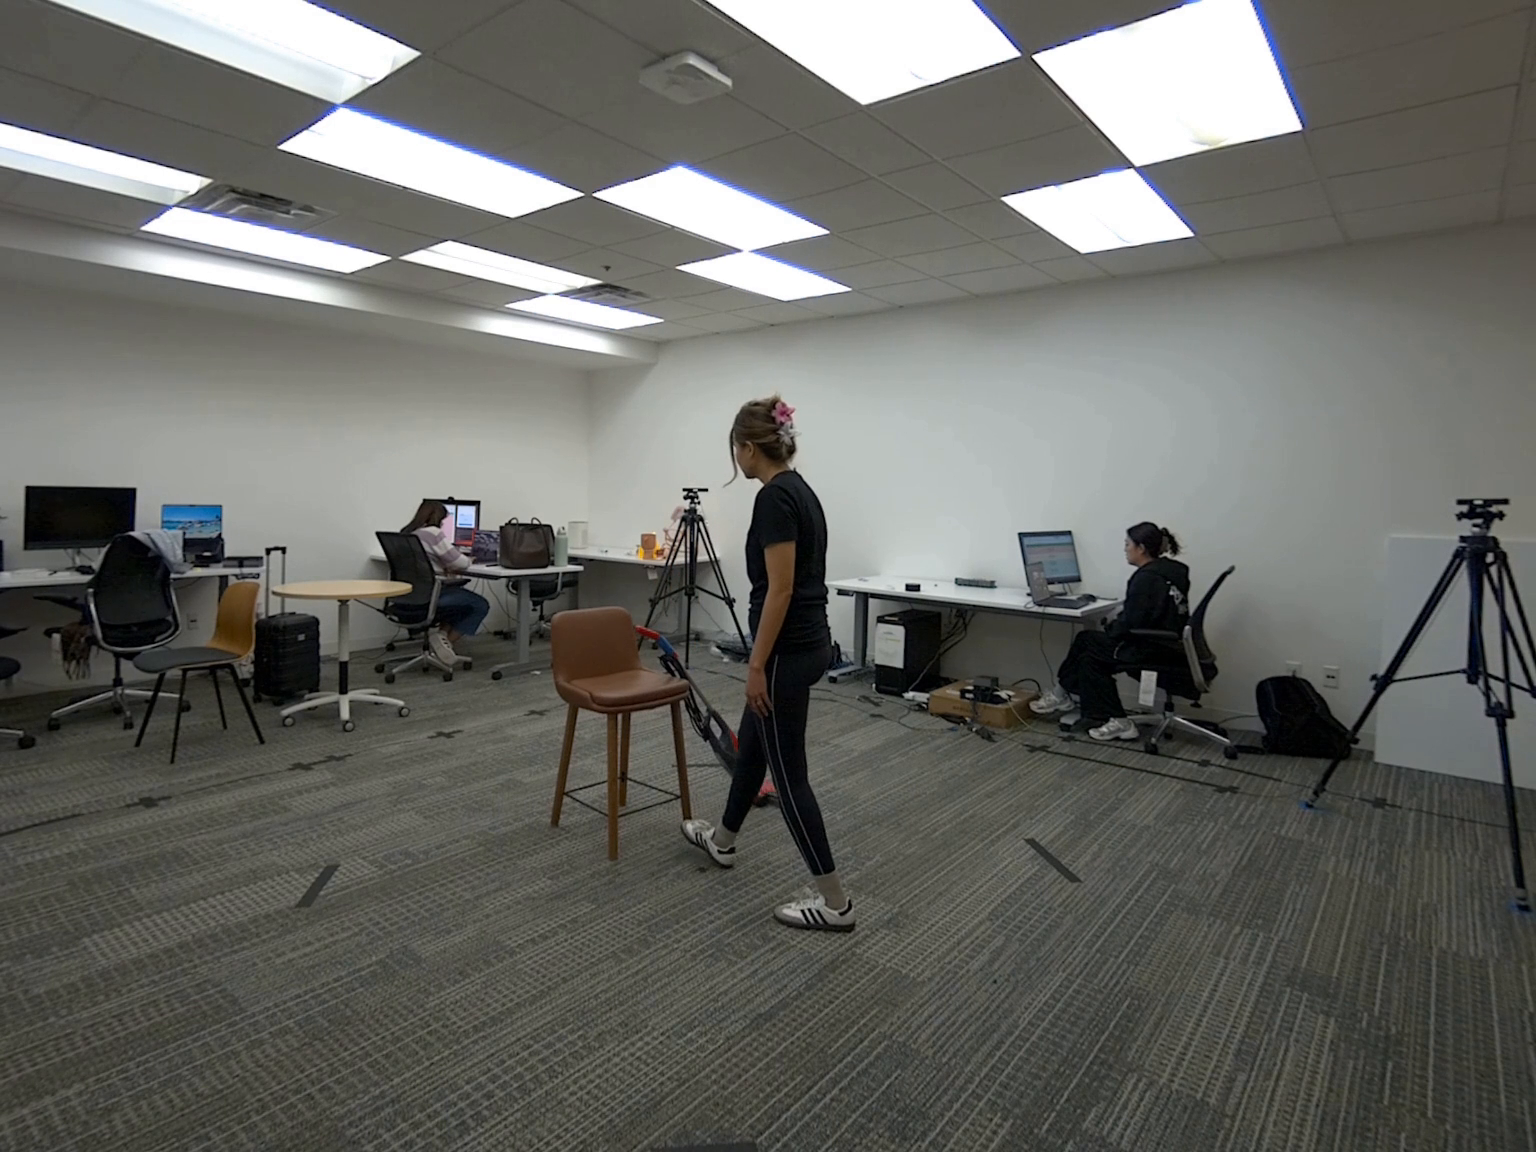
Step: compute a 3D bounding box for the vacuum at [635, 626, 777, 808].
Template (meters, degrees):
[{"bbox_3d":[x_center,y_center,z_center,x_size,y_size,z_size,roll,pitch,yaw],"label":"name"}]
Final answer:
[{"bbox_3d":[-0.273,0.600,3.613,0.260,1.017,0.144,-2,39,47],"label":"vacuum"}]
